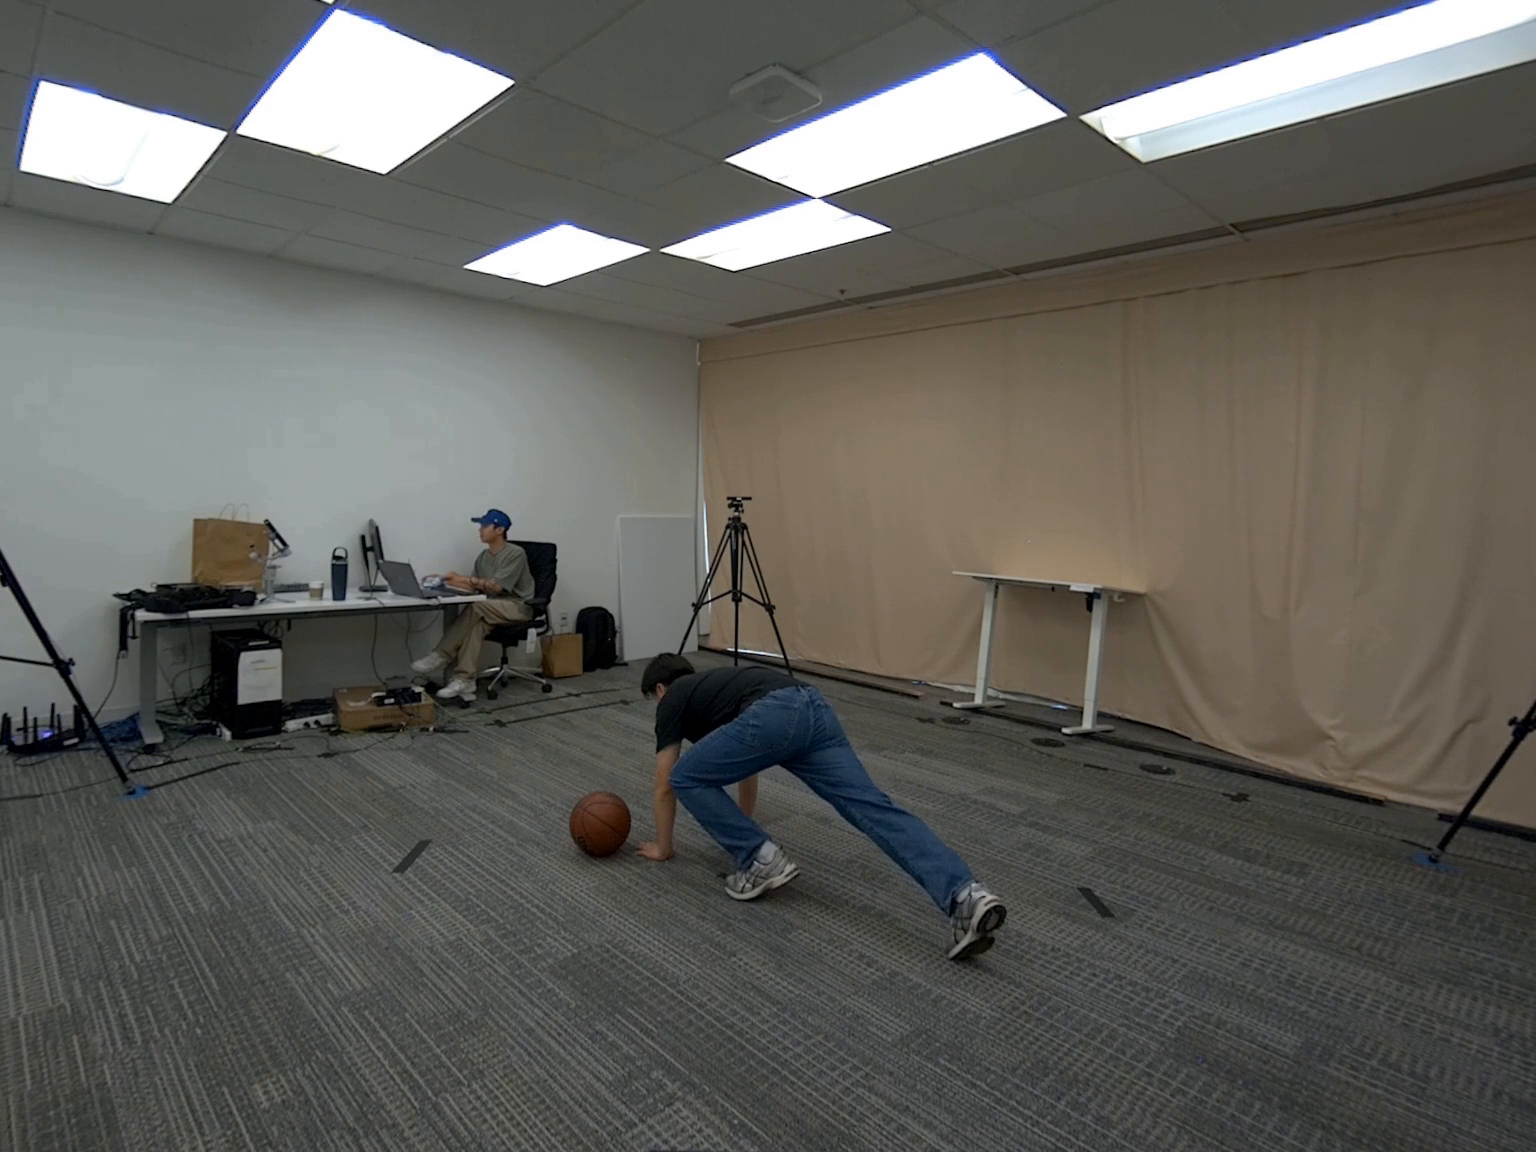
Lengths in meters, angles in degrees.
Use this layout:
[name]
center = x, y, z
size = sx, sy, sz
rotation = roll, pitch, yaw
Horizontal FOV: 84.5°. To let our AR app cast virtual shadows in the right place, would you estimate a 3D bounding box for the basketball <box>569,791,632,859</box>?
[basketball]
center = -0.655, 0.956, 3.276
size = 0.236, 0.235, 0.237
rotation = 1, 4, -1
